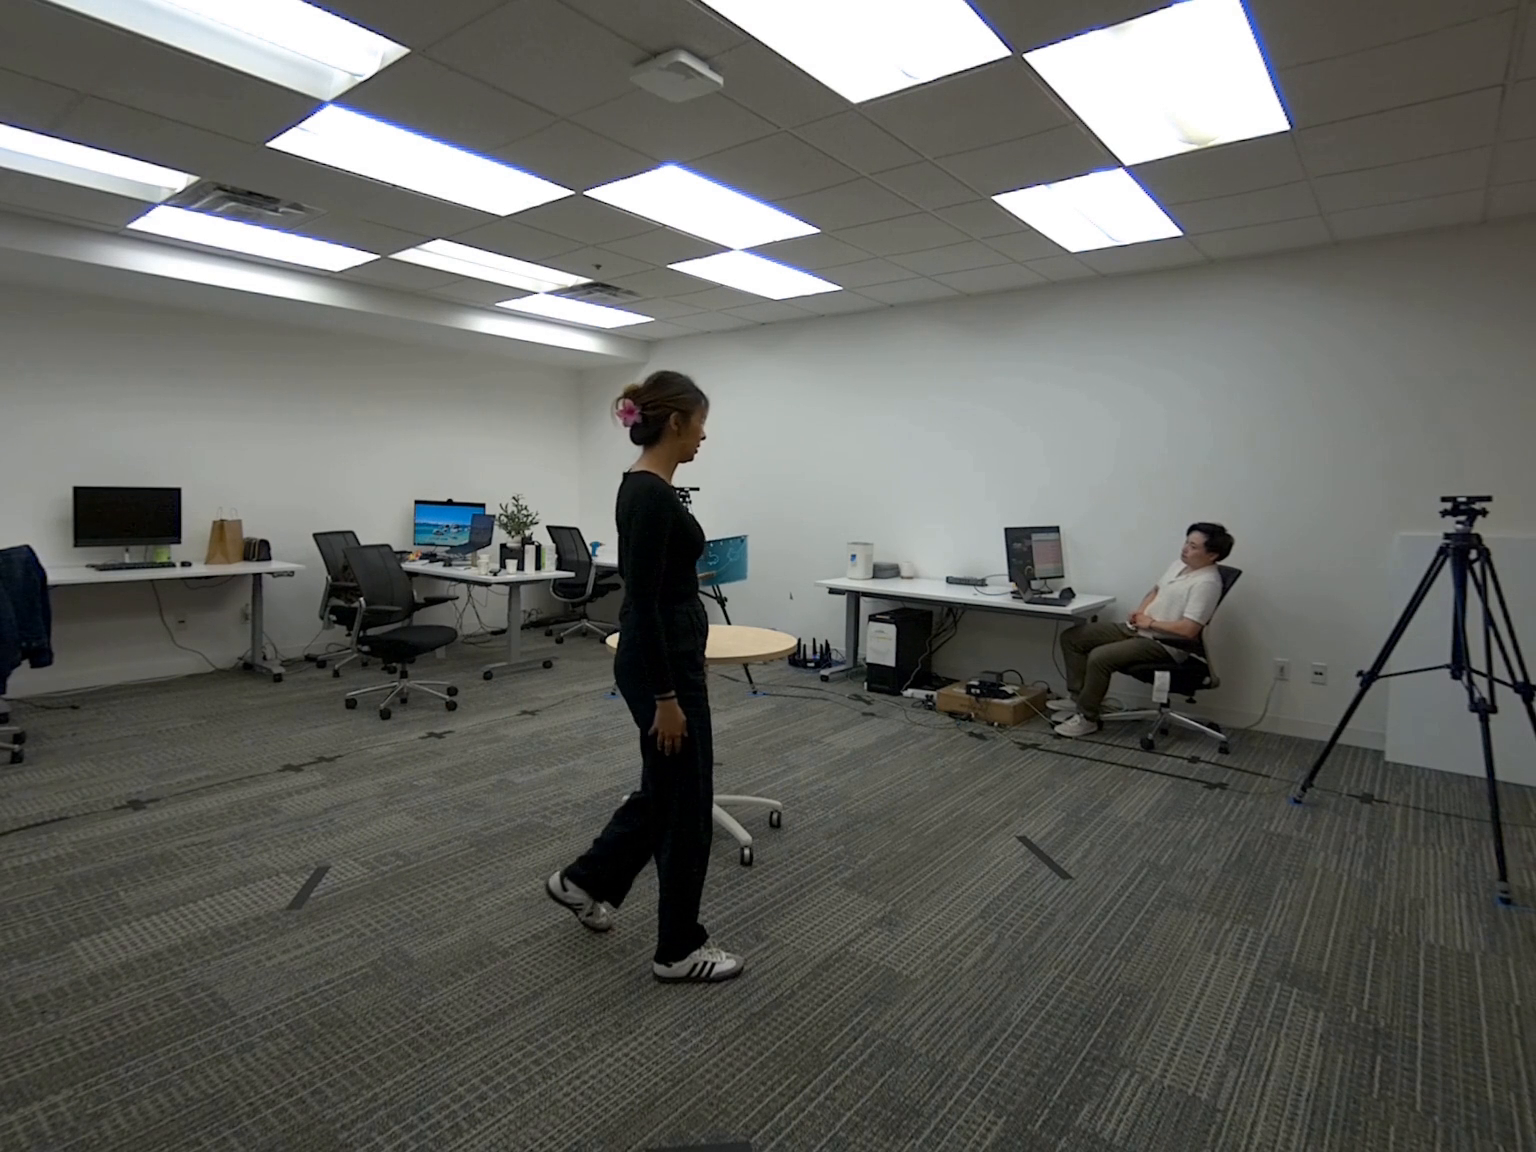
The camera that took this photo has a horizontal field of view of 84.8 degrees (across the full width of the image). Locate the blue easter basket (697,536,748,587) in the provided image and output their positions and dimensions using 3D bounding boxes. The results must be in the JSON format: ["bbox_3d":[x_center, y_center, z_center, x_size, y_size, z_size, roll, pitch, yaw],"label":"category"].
[{"bbox_3d":[-0.204,-0.044,2.929,0.243,0.156,0.244,-9,2,-2],"label":"blue easter basket"}]
